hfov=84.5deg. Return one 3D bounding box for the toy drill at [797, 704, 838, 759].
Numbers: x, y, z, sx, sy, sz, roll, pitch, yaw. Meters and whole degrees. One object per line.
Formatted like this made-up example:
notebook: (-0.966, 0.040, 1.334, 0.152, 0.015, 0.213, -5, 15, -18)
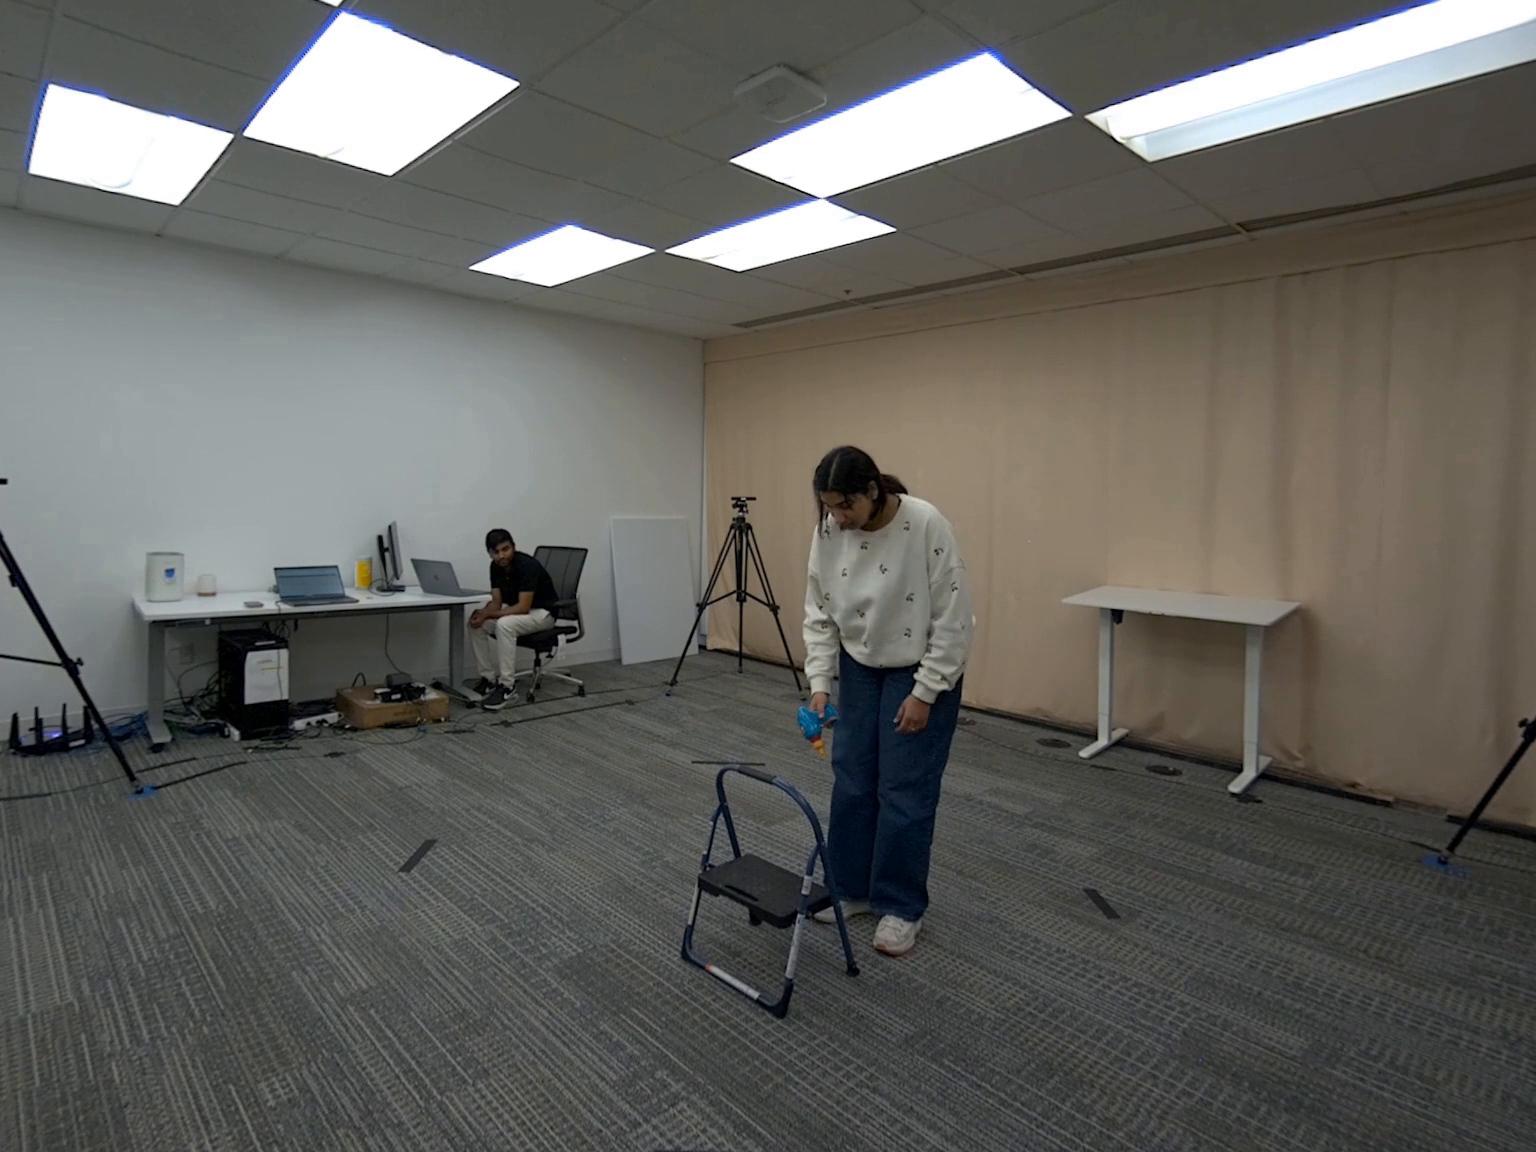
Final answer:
toy drill: (0.165, 0.483, 2.593, 0.143, 0.174, 0.061, -5, -31, -33)
